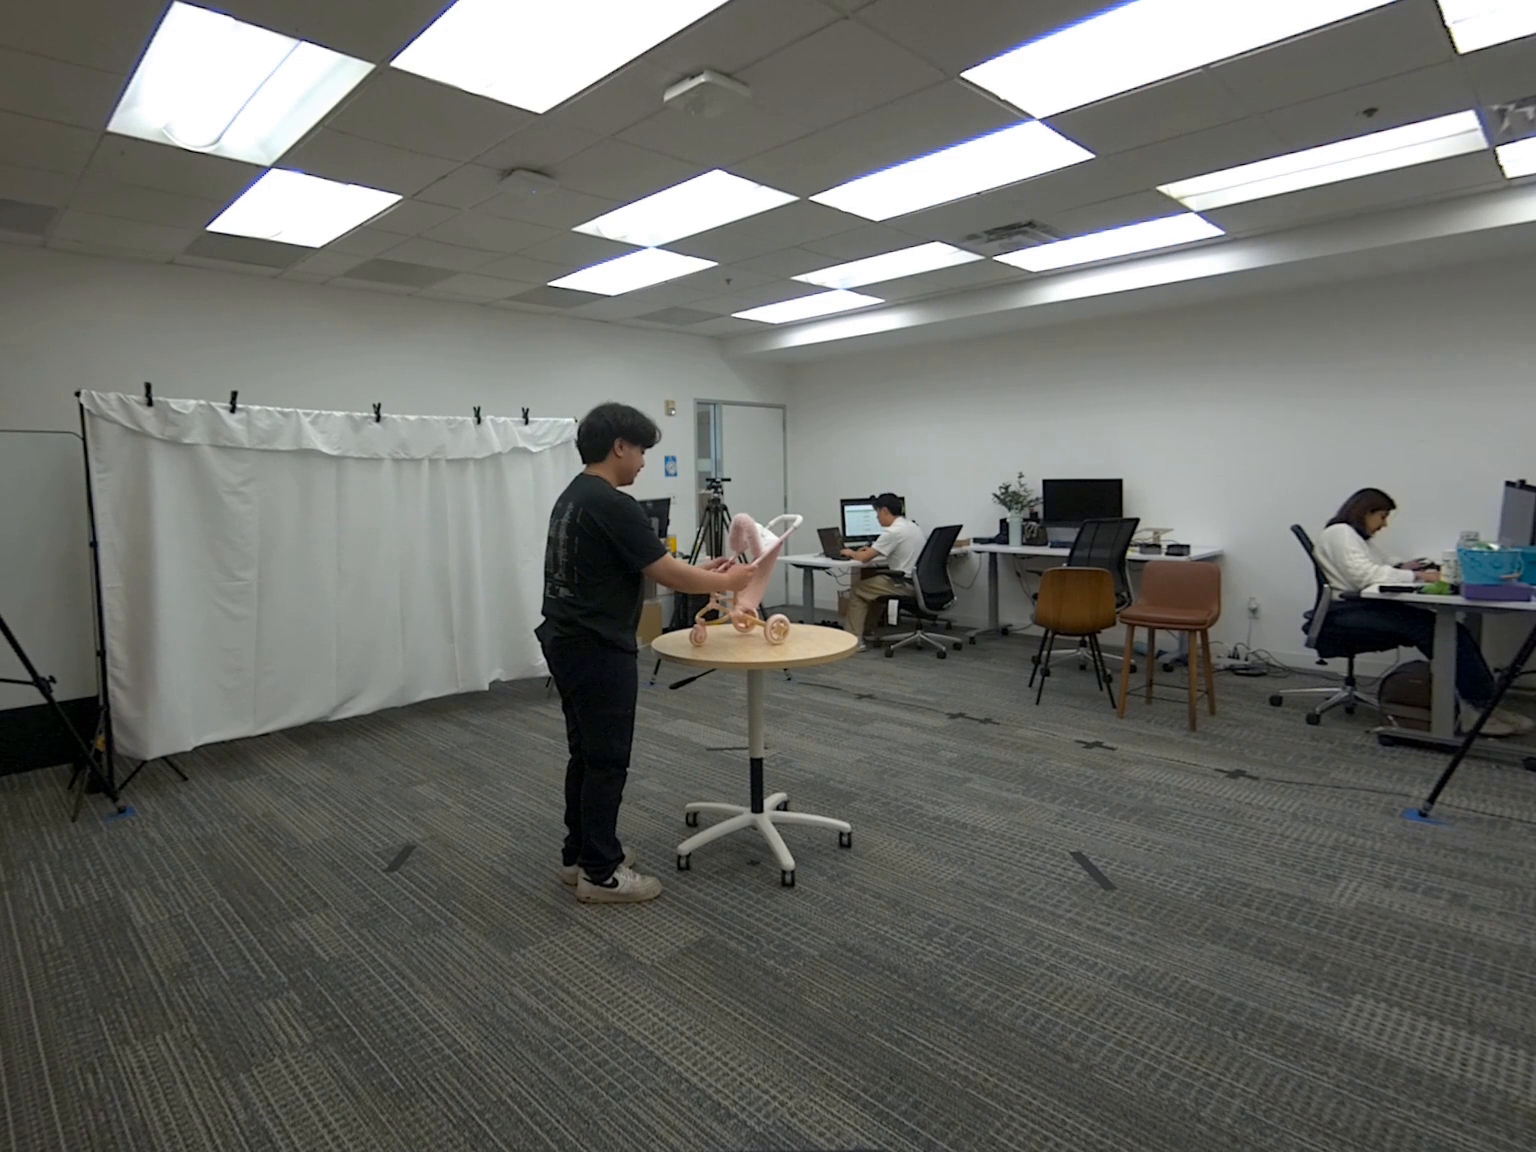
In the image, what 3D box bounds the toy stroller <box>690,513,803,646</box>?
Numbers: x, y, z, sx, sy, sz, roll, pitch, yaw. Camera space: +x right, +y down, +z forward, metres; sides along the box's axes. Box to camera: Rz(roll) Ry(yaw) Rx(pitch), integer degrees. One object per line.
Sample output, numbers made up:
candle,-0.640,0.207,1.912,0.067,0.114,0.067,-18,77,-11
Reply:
toy stroller,-0.096,0.009,3.154,0.333,0.535,0.288,10,0,-23
